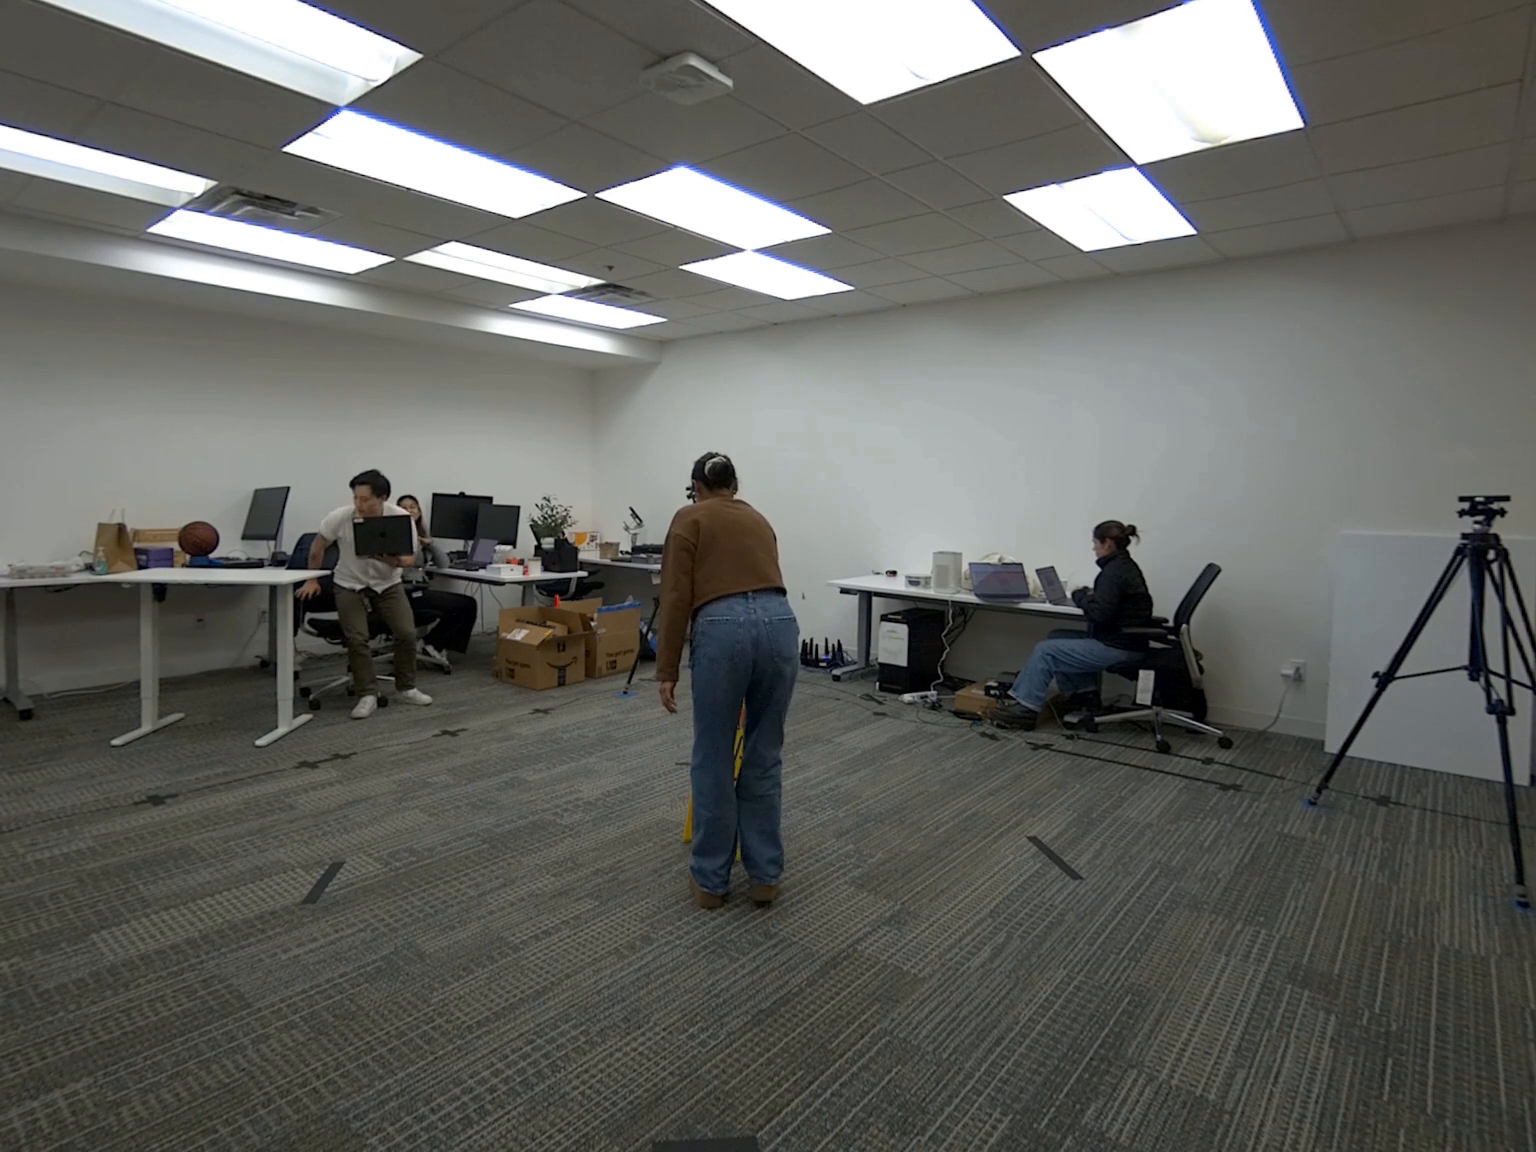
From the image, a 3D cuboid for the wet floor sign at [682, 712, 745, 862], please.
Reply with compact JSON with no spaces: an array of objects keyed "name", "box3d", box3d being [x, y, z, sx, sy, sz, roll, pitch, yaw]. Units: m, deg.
[{"name":"wet floor sign","box3d":[-0.145,0.713,3.310,0.274,0.645,0.299,-1,2,-39]}]
